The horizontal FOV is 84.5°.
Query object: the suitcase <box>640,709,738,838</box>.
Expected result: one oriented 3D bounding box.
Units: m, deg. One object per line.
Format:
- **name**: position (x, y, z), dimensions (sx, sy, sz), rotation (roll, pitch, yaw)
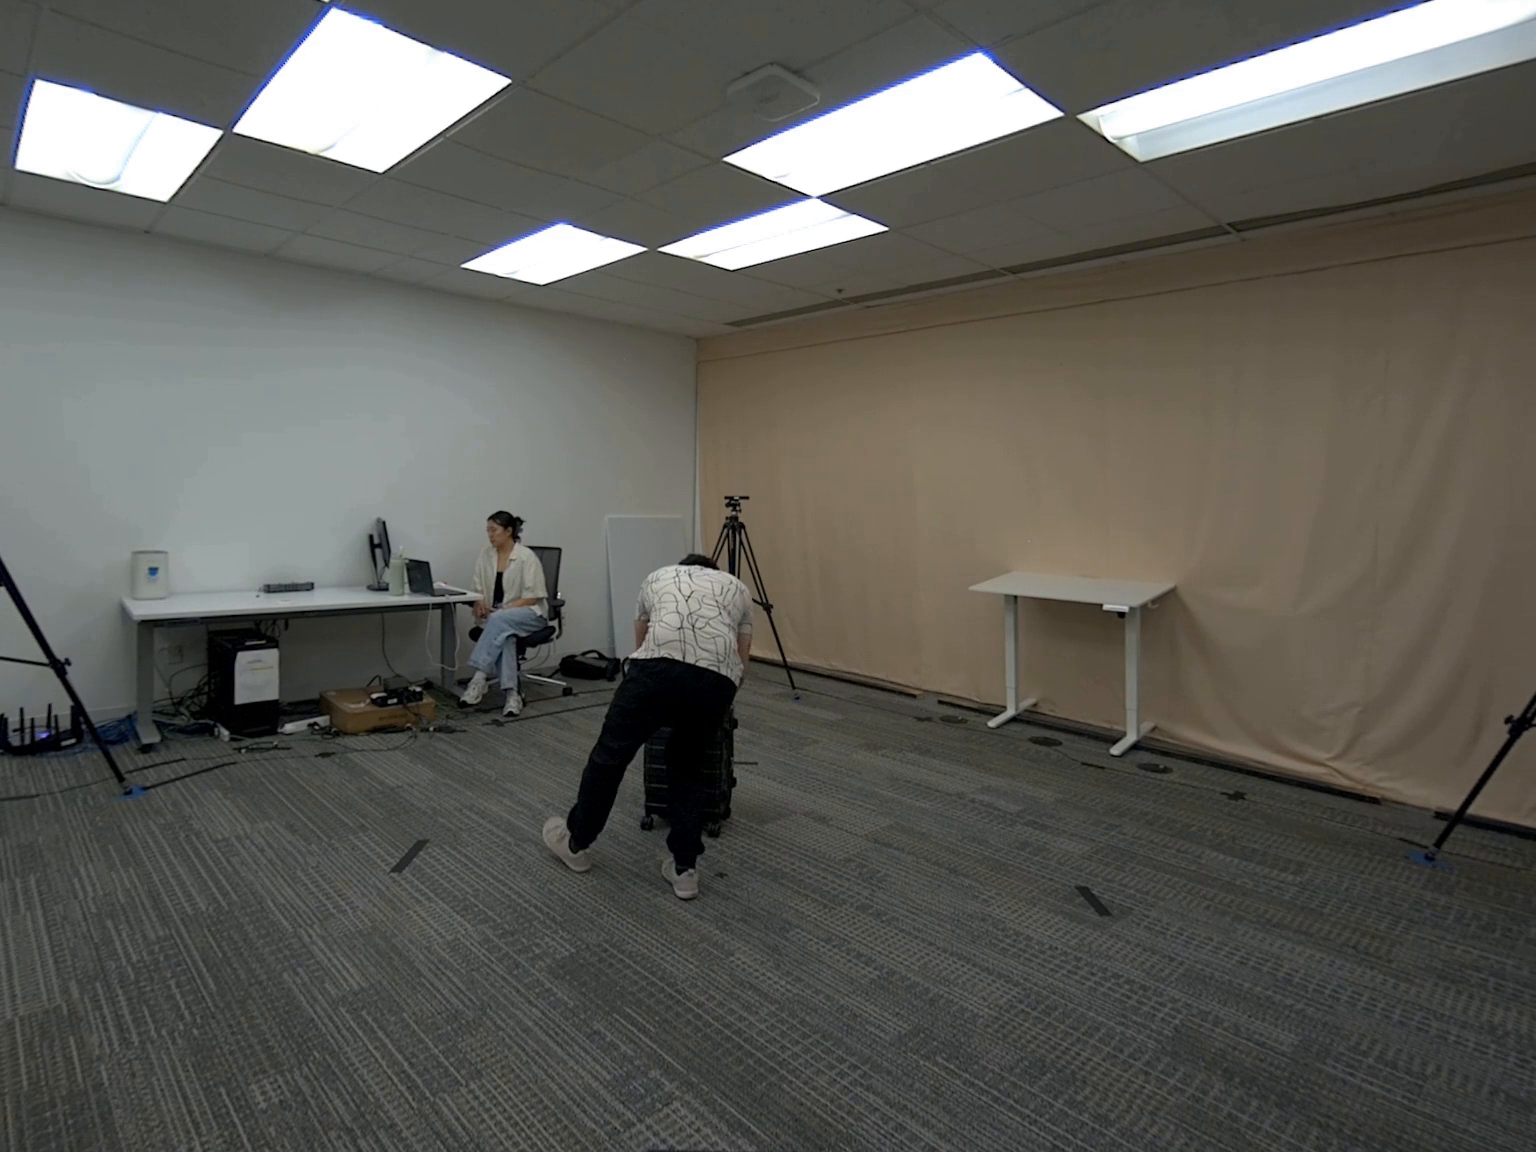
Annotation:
- **suitcase**: position (-0.343, 0.784, 3.606), dimensions (0.380, 0.549, 0.246), rotation (2, 1, 13)
